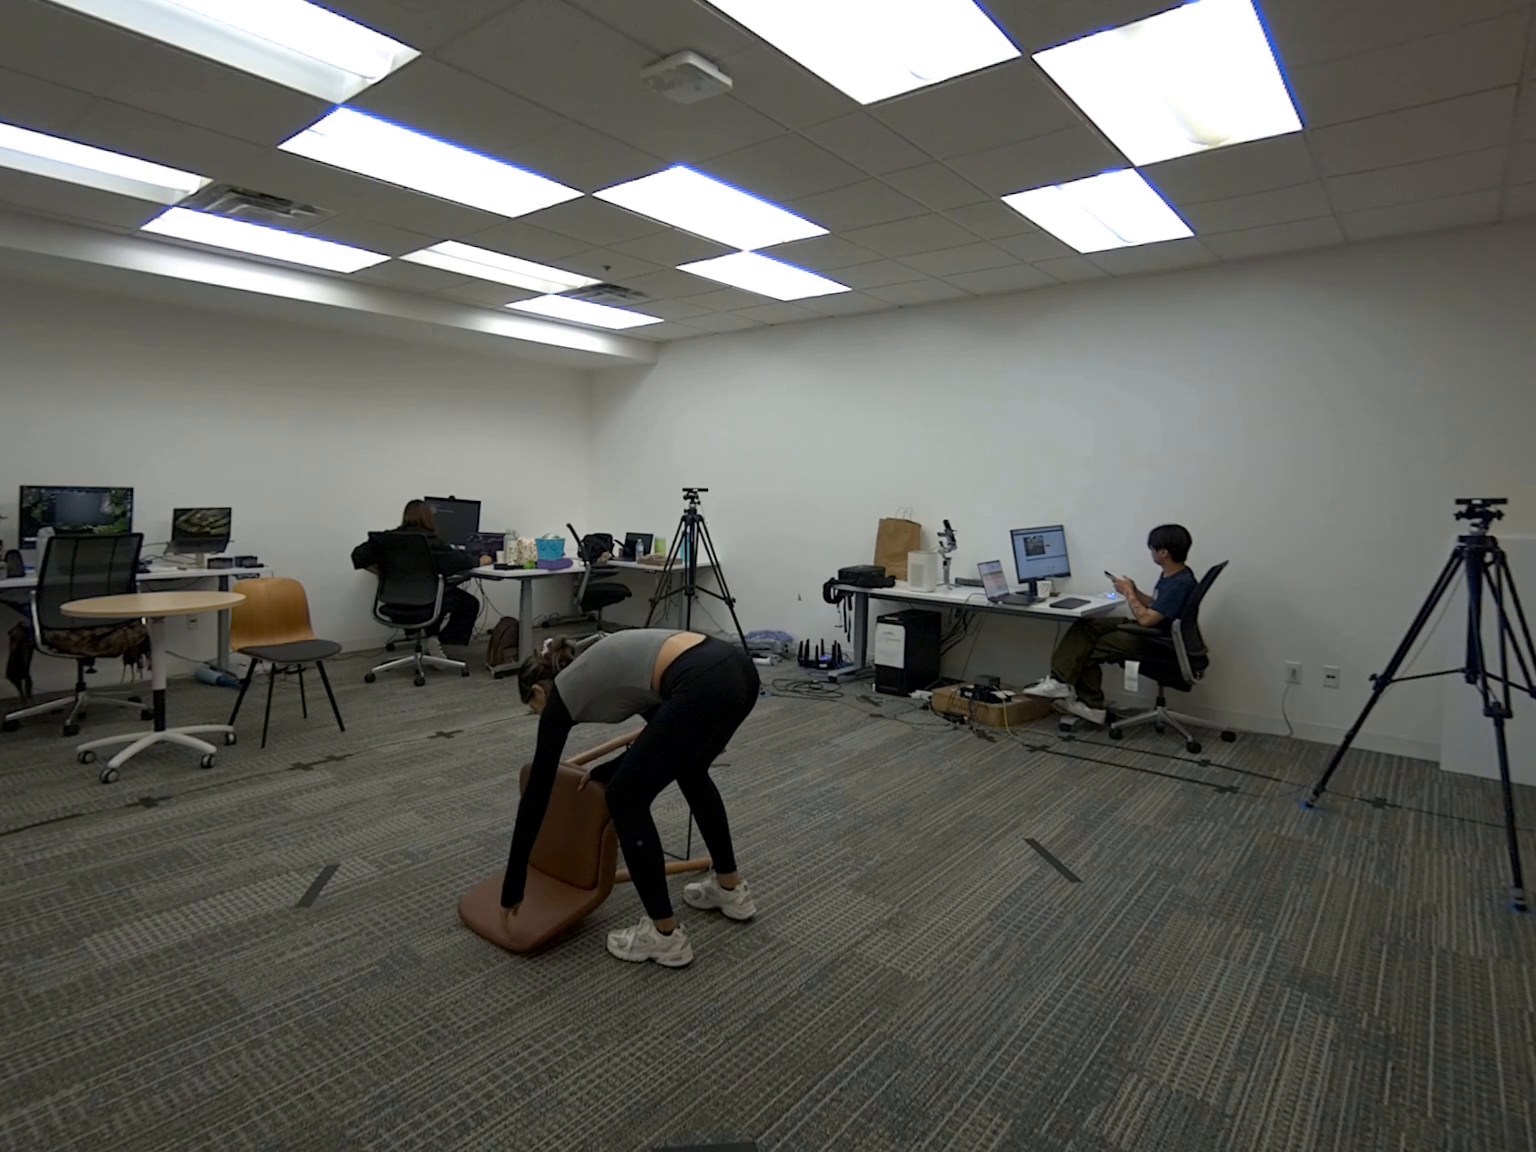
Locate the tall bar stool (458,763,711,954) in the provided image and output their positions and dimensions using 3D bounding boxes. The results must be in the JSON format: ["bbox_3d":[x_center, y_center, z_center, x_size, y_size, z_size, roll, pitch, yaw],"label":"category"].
[{"bbox_3d":[-0.597,0.853,2.916,0.472,0.466,0.864,4,6,38],"label":"tall bar stool"}]
